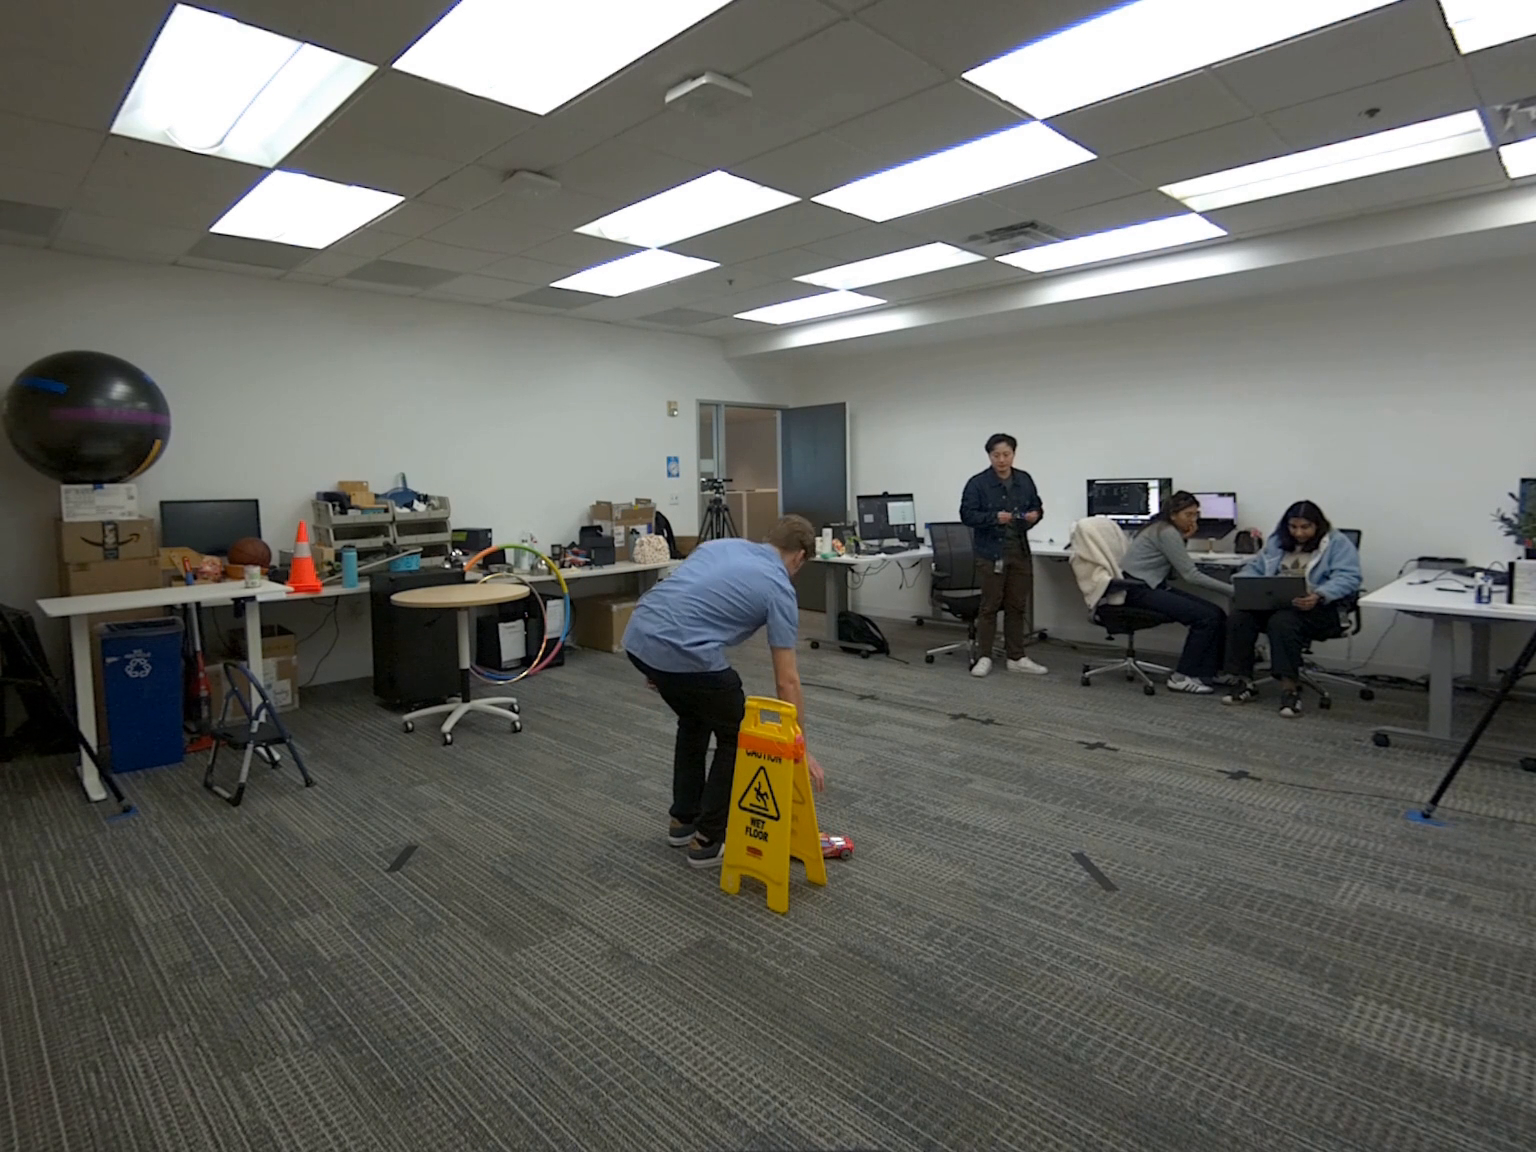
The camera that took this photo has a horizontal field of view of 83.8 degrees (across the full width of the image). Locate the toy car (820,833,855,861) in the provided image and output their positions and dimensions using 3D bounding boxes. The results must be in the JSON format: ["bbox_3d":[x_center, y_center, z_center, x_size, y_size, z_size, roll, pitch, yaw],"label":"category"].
[{"bbox_3d":[0.185,0.995,3.155,0.253,0.083,0.131,9,5,-4],"label":"toy car"}]
